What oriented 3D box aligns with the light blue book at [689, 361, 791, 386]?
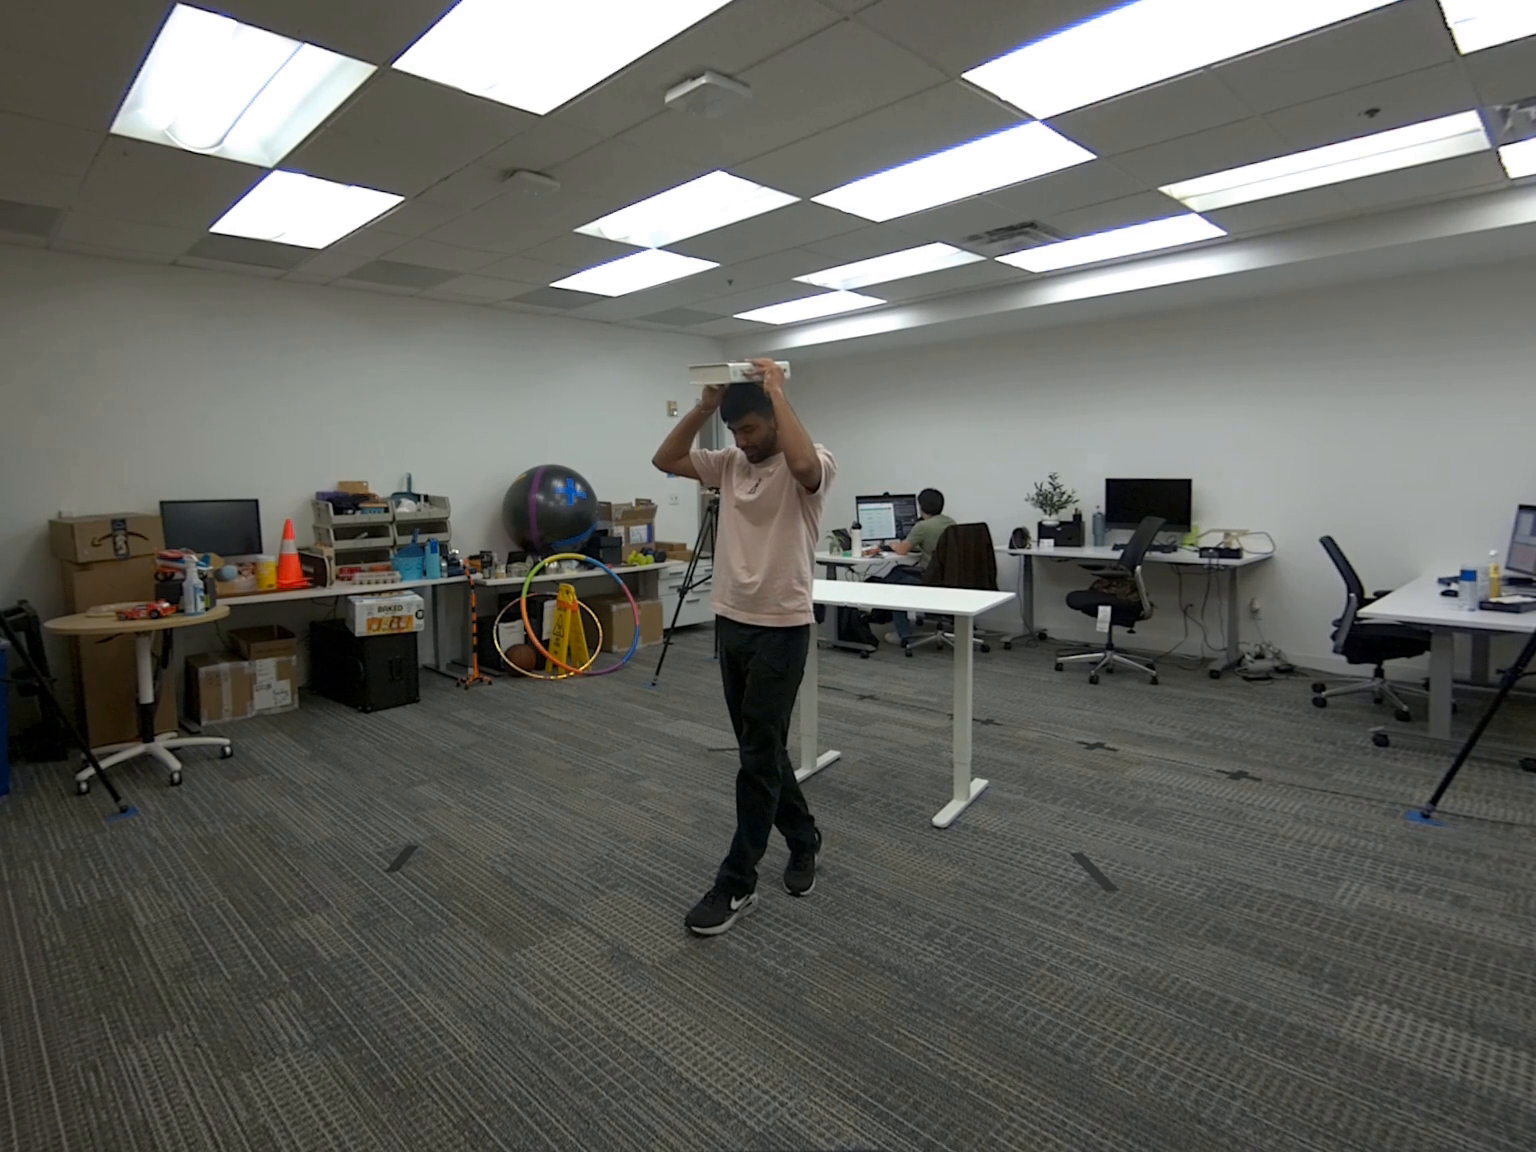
[{"bbox_3d":[-0.093,-0.627,2.656,0.255,0.058,0.198,-16,19,-43],"label":"light blue book"}]
